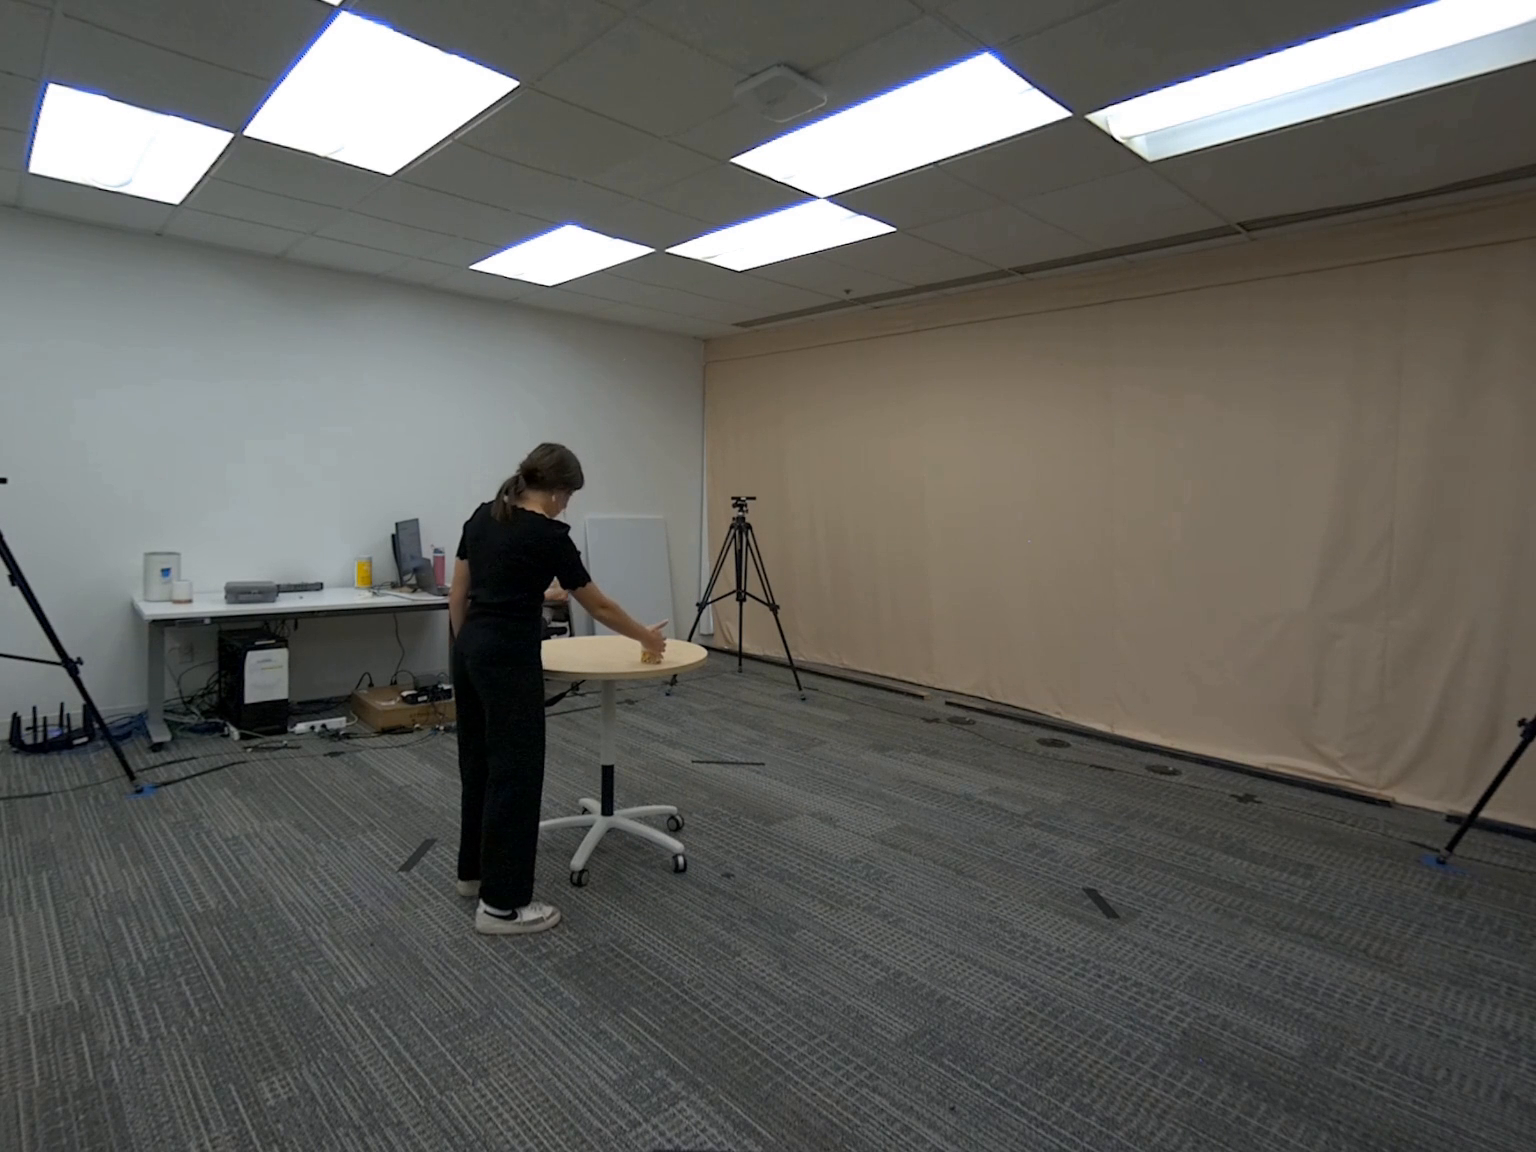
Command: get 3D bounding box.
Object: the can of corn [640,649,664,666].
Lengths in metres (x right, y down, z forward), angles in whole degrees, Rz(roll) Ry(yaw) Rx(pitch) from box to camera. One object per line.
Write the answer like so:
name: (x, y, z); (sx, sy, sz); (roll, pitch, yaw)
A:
can of corn: (-0.438, 0.262, 3.078); (0.074, 0.111, 0.074); (3, 3, -2)
